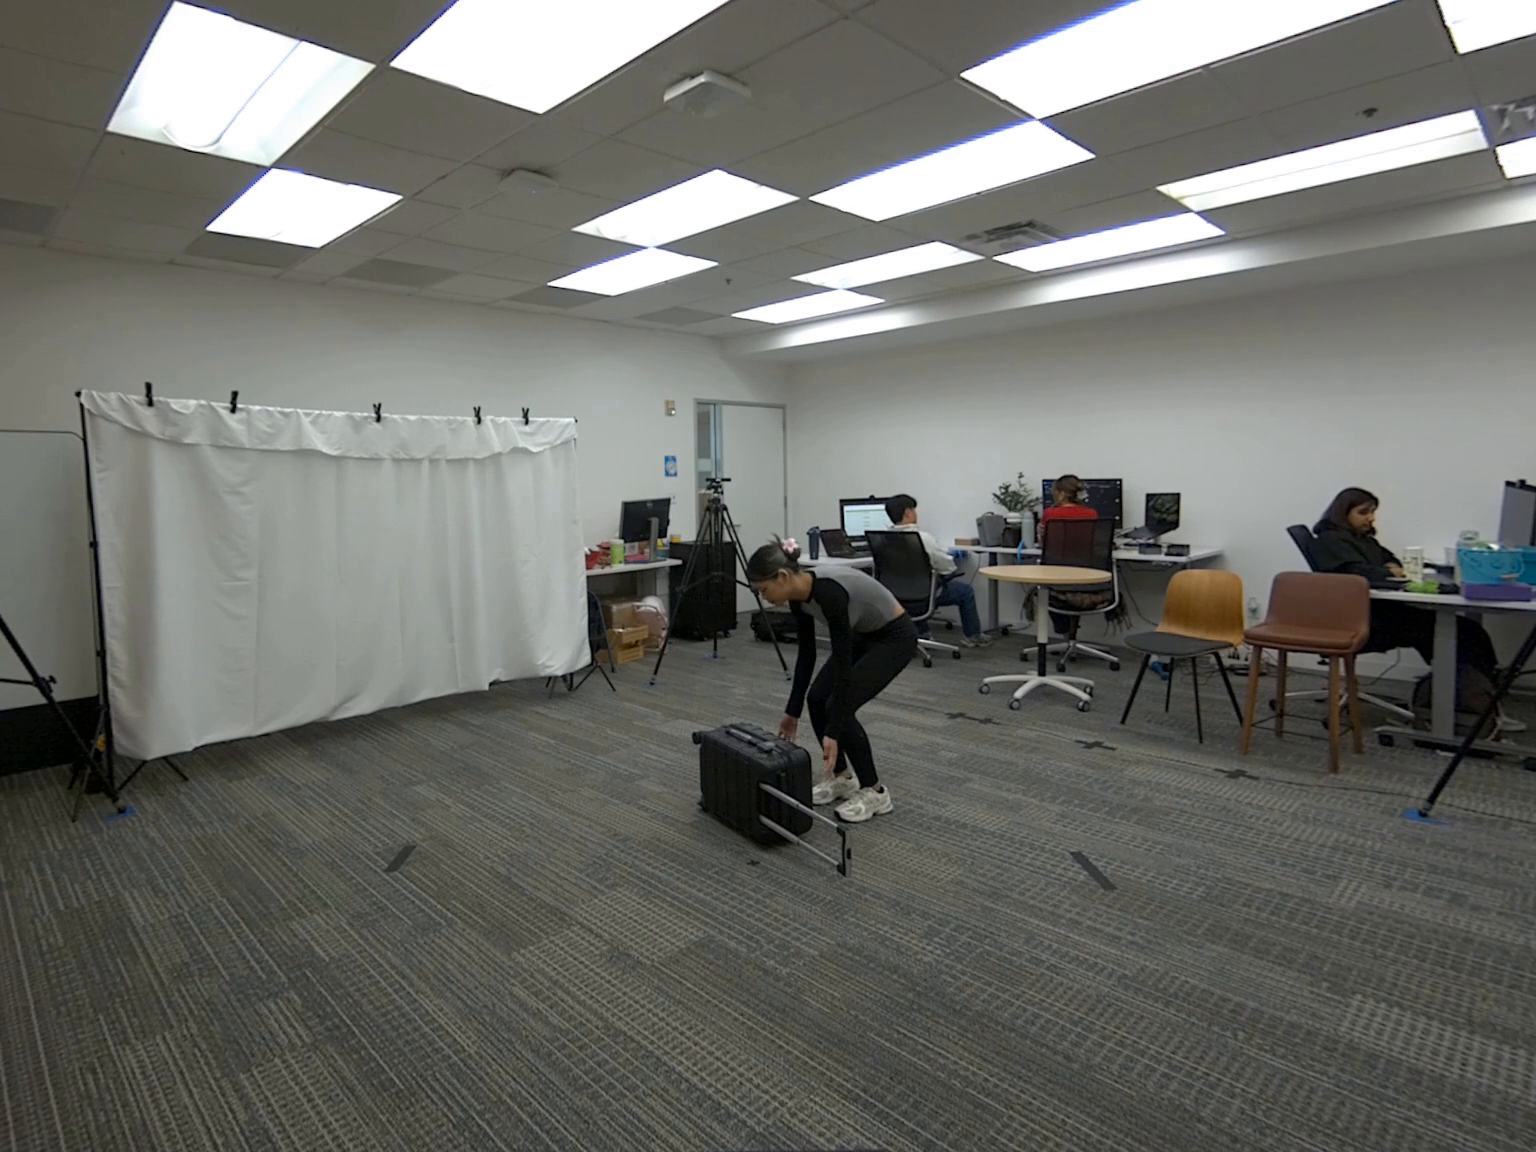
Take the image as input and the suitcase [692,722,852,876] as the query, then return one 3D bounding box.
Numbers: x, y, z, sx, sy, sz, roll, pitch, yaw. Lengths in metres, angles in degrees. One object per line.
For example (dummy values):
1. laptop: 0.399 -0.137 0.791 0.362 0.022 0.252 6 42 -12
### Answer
1. suitcase: 0.059 0.839 3.253 0.251 0.382 1.007 -5 7 -33
